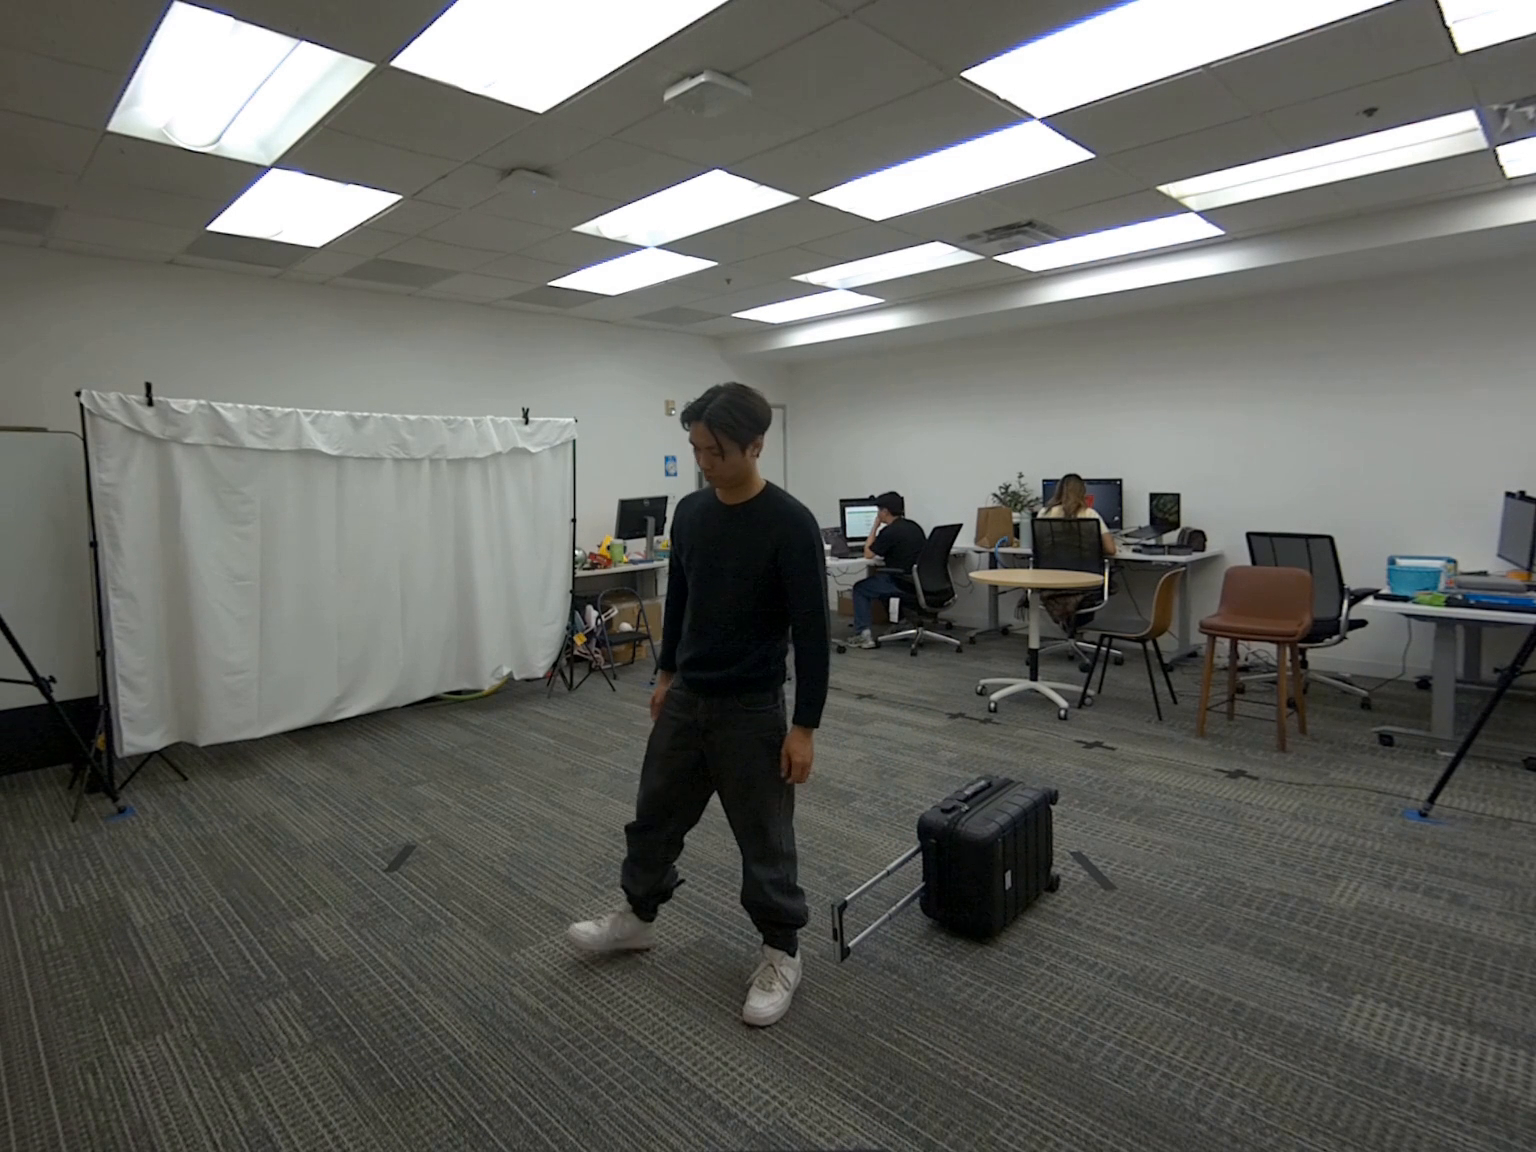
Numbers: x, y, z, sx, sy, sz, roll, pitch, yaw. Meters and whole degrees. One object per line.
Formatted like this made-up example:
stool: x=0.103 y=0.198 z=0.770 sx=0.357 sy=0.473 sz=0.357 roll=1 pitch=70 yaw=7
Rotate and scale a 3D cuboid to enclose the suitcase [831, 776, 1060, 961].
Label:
suitcase: x=0.583 y=0.902 z=2.595 sx=0.265 sy=0.382 sz=0.954 roll=2 pitch=7 yaw=40
